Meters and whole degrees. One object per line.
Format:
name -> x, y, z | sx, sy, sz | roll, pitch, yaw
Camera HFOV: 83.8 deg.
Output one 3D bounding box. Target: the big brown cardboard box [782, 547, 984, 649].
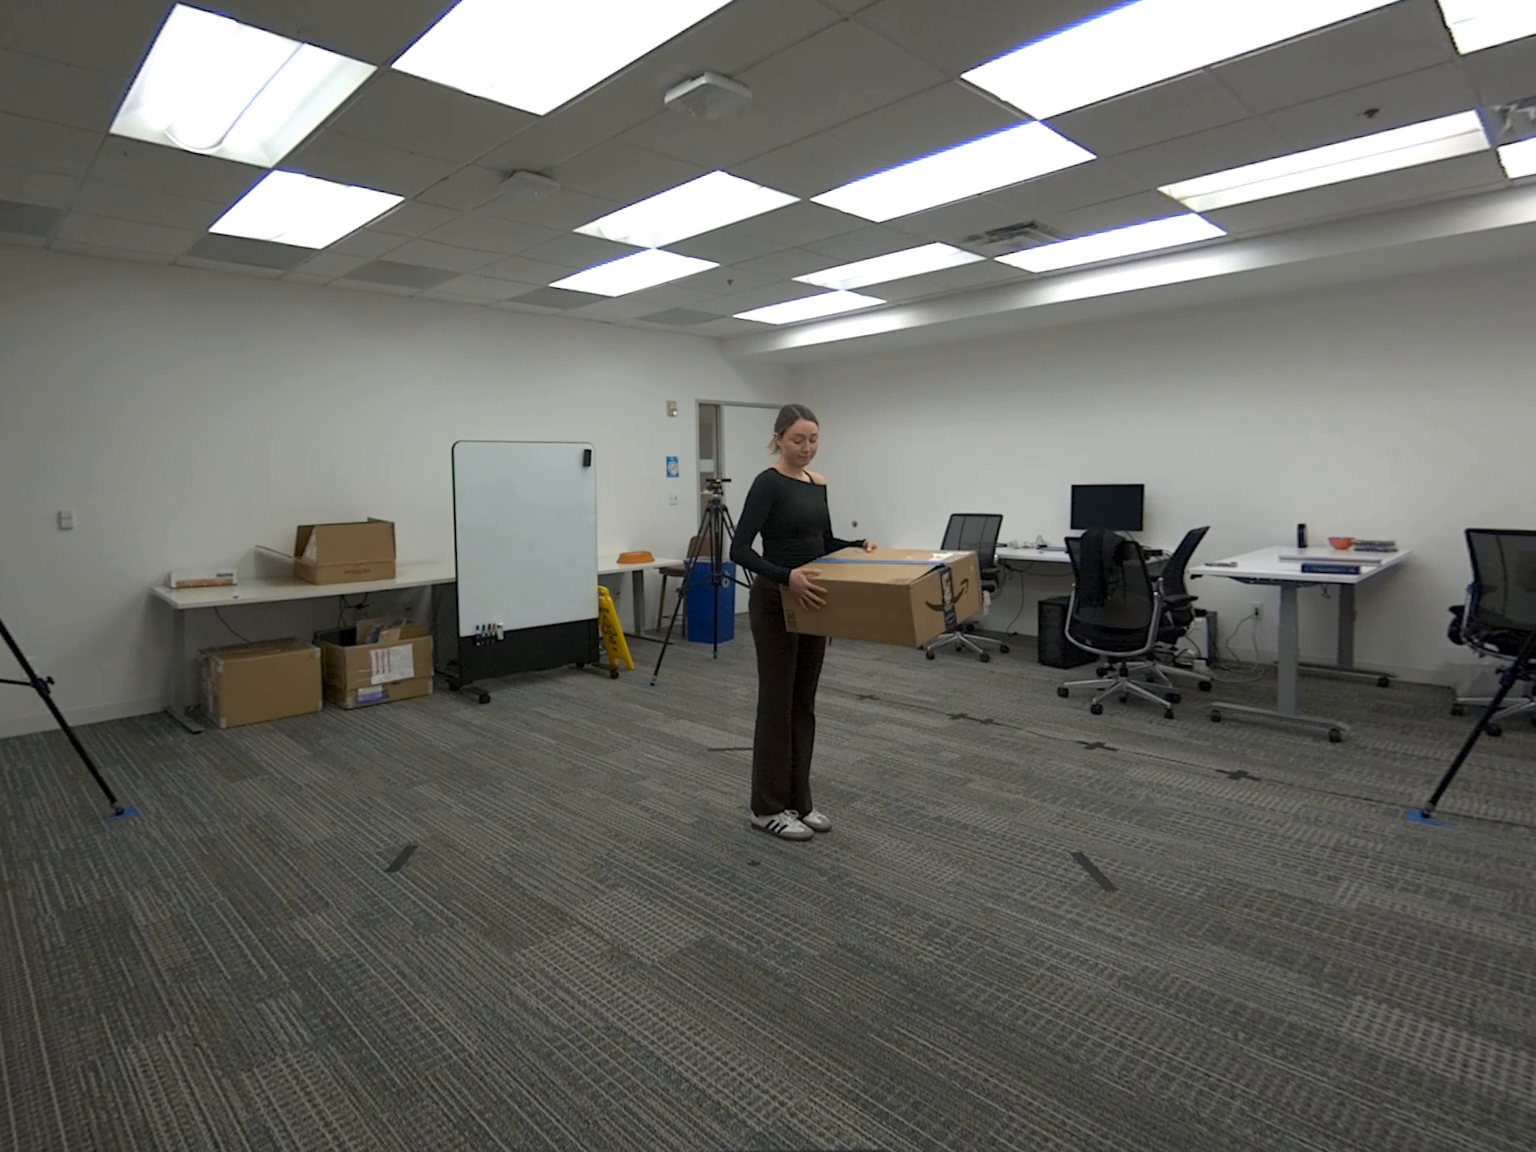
big brown cardboard box -> 0.389, 0.060, 3.042 | 0.606, 0.230, 0.410 | 2, 17, 46
